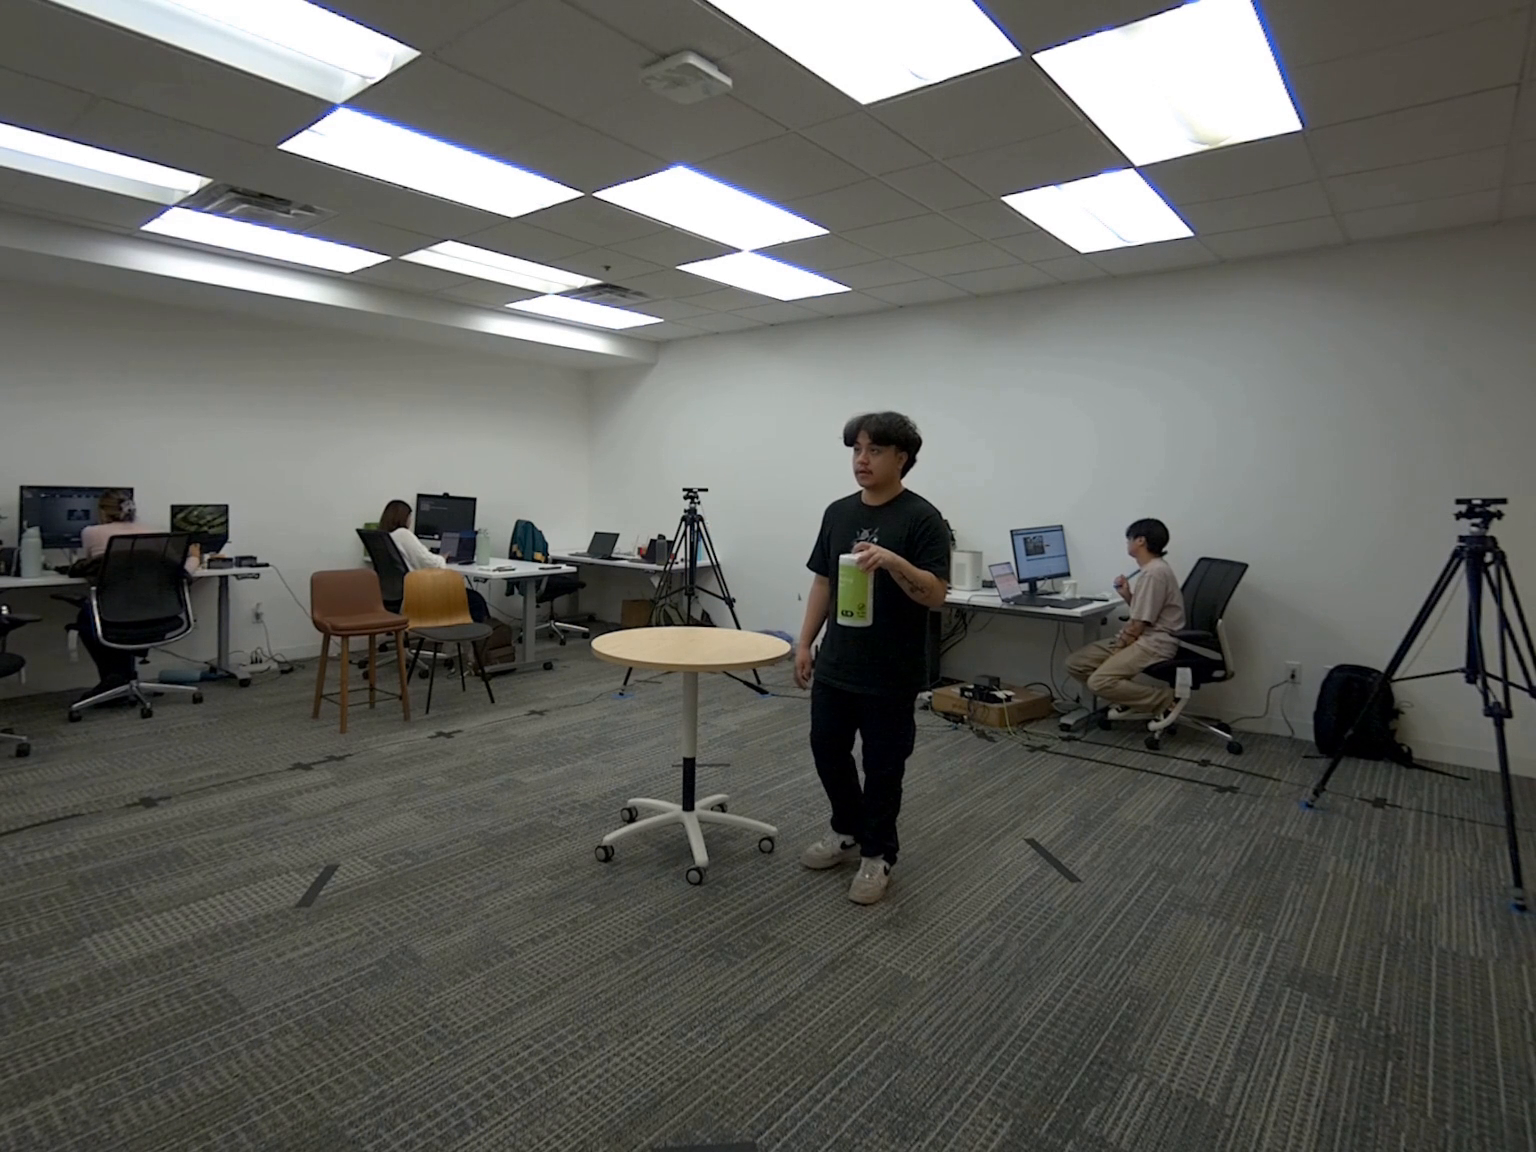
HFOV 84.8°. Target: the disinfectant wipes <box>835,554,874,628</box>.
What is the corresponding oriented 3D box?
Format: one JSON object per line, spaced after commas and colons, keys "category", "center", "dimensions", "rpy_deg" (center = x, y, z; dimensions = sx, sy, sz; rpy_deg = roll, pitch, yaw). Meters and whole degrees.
{"category": "disinfectant wipes", "center": [0.268, 0.045, 2.638], "dimensions": [0.118, 0.216, 0.118], "rpy_deg": [0, 4, -2]}
